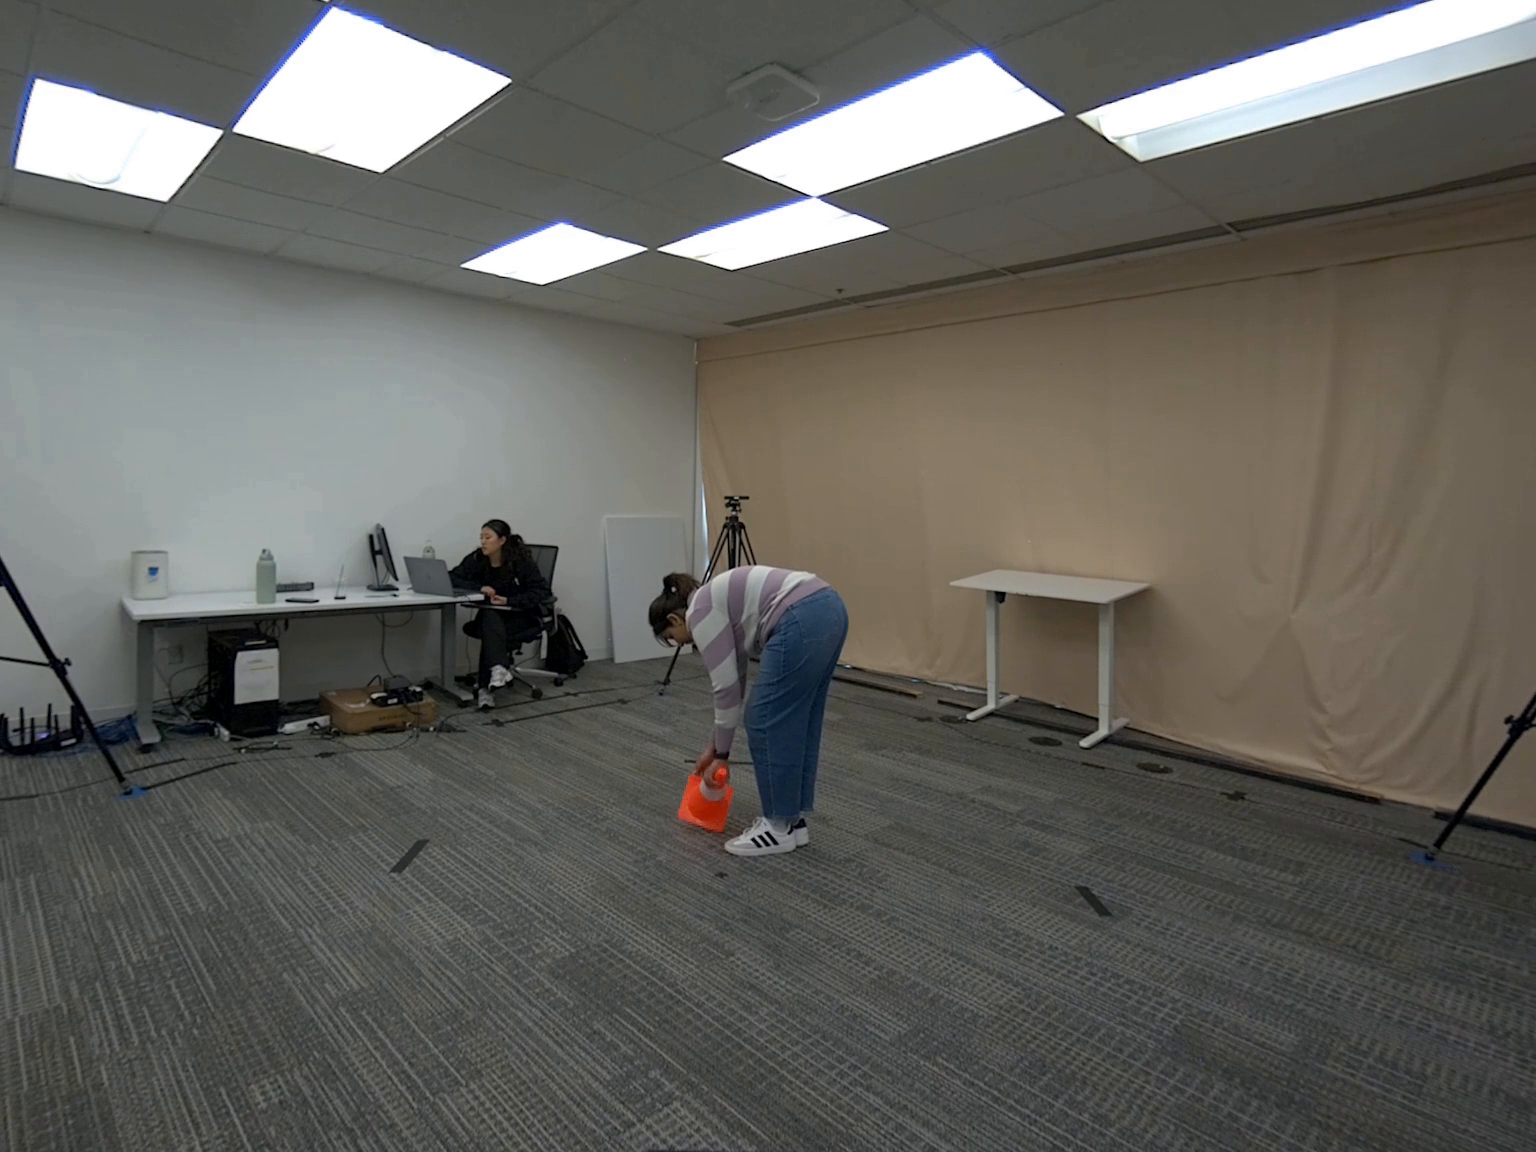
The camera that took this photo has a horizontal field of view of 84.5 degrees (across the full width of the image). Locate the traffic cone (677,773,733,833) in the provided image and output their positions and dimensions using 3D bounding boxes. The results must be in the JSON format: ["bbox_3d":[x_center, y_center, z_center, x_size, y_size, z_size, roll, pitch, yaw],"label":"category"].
[{"bbox_3d":[-0.222,0.854,3.391,0.202,0.208,0.379,14,-35,-7],"label":"traffic cone"}]
